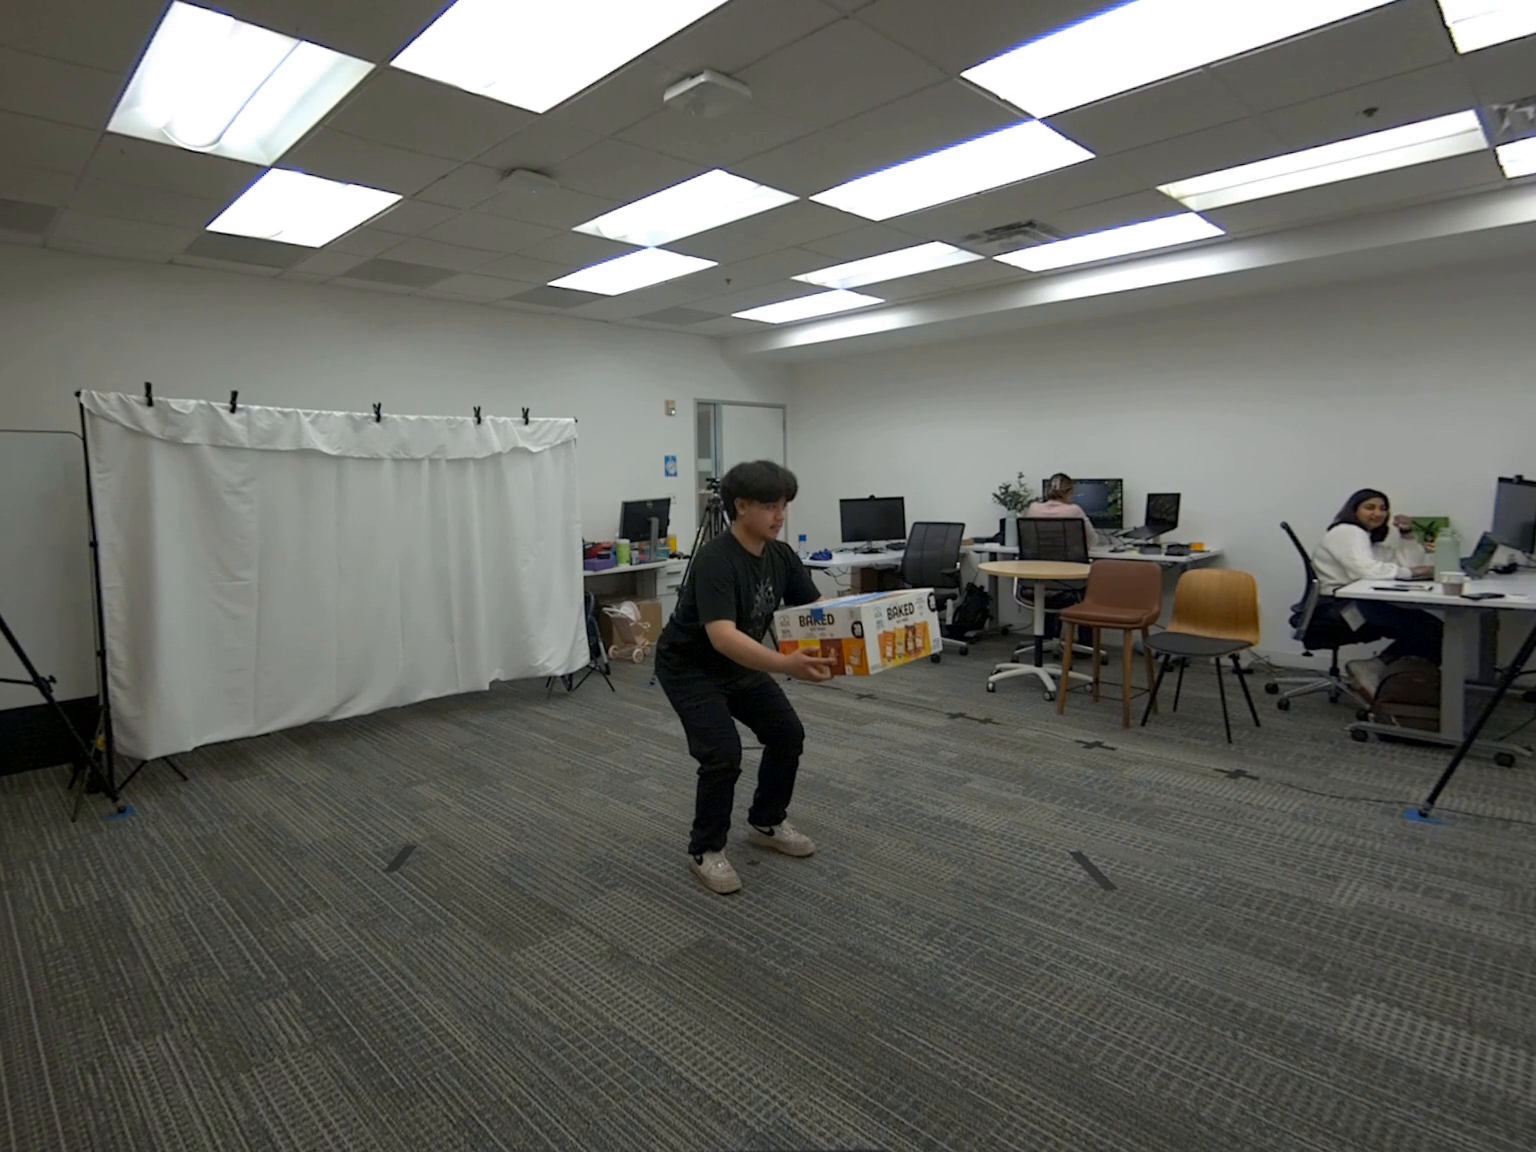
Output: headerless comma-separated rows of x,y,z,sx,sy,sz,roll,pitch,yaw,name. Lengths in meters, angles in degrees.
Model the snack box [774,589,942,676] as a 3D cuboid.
0.283,0.180,2.708,0.349,0.206,0.395,-7,1,44,snack box
